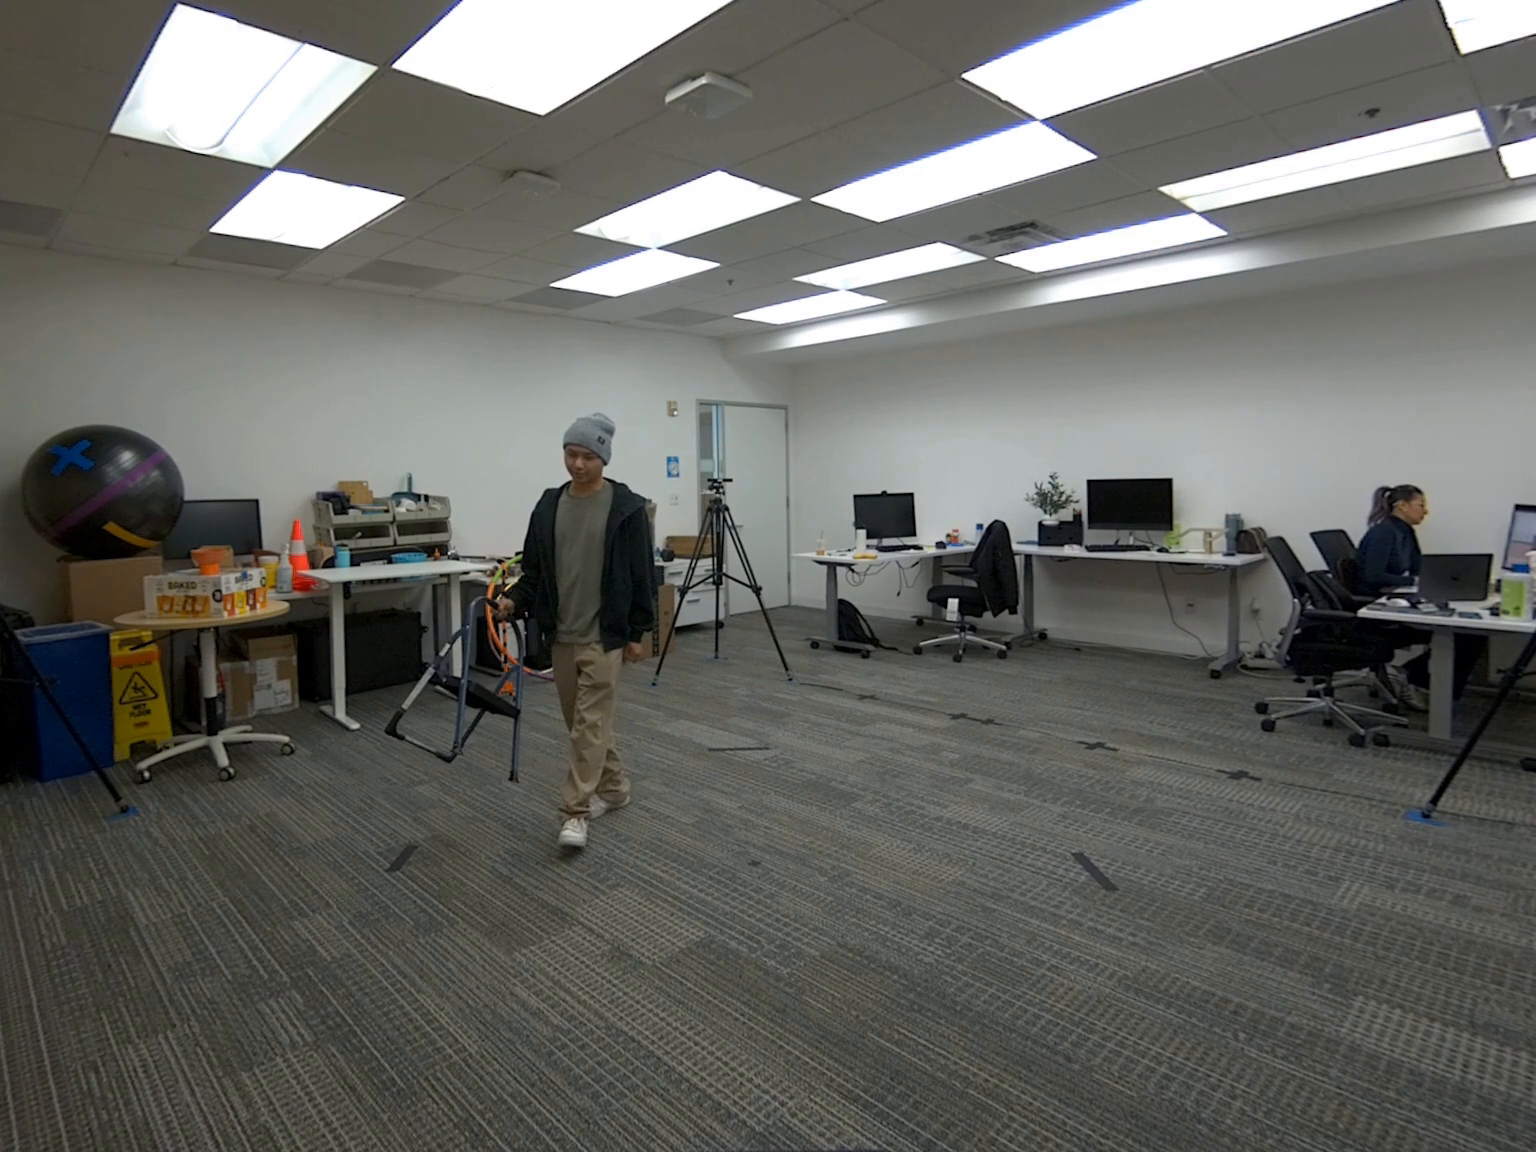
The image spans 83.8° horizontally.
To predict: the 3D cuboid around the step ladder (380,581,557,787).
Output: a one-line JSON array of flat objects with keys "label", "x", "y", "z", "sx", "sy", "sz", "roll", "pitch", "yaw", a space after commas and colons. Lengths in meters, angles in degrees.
[{"label": "step ladder", "x": -1.076, "y": 0.407, "z": 3.253, "sx": 0.357, "sy": 0.614, "sz": 0.416, "roll": 8, "pitch": -25, "yaw": 19}]
